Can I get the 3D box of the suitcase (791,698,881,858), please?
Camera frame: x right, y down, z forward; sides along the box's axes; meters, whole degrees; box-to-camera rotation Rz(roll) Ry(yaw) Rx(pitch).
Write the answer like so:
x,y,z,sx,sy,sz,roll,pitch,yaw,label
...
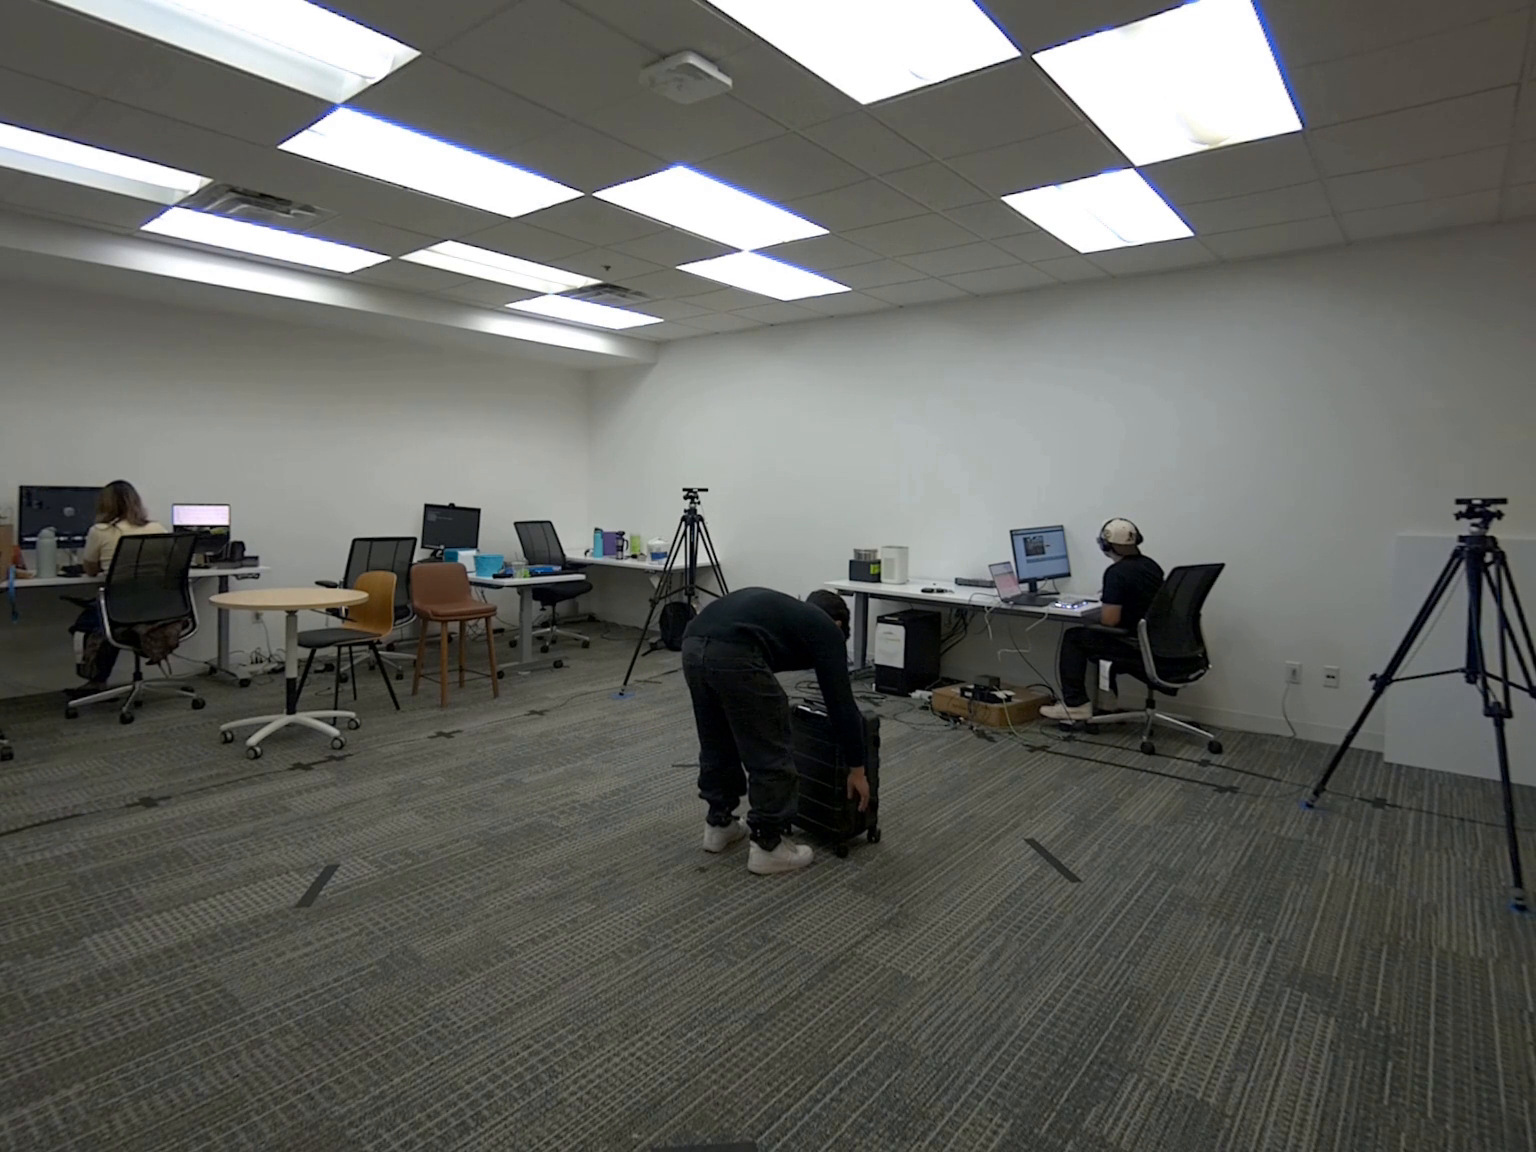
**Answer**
x,y,z,sx,sy,sz,roll,pitch,yaw,label
0.245,0.774,3.428,0.241,0.548,0.388,-1,4,-42,suitcase
